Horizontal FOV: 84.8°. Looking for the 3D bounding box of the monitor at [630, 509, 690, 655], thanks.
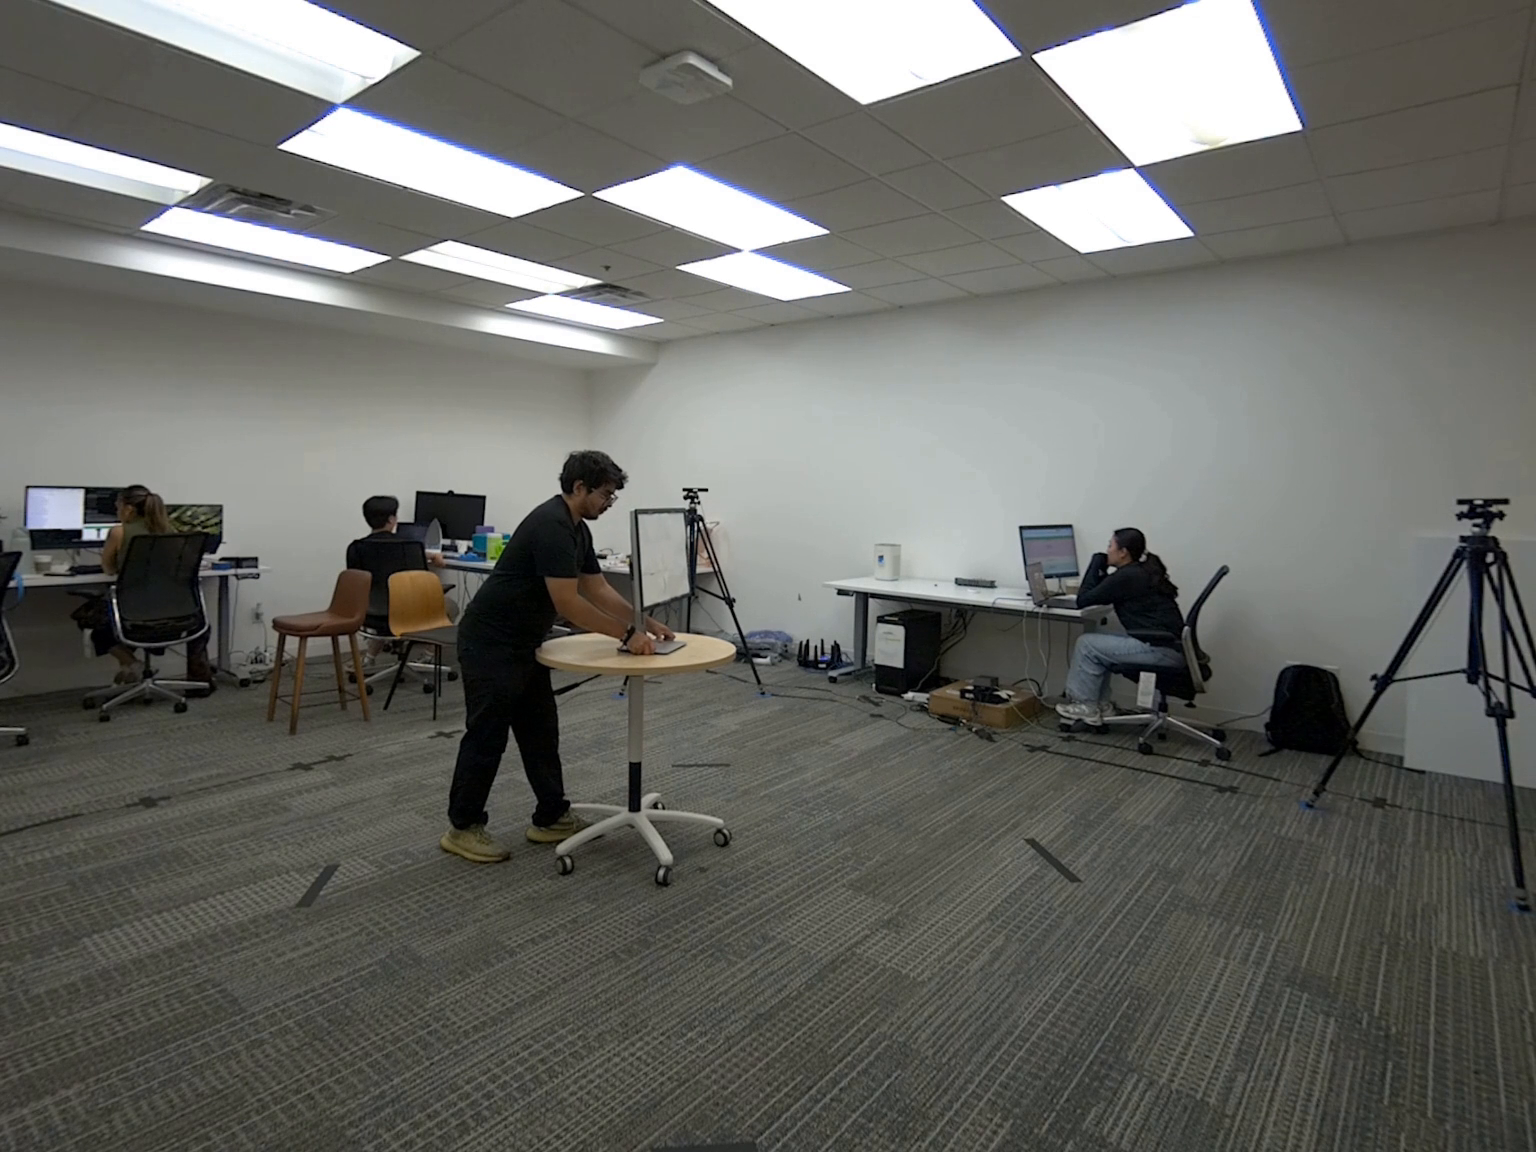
[{"bbox_3d":[-0.477,0.011,3.258,0.213,0.552,0.558,1,4,13],"label":"monitor"}]
